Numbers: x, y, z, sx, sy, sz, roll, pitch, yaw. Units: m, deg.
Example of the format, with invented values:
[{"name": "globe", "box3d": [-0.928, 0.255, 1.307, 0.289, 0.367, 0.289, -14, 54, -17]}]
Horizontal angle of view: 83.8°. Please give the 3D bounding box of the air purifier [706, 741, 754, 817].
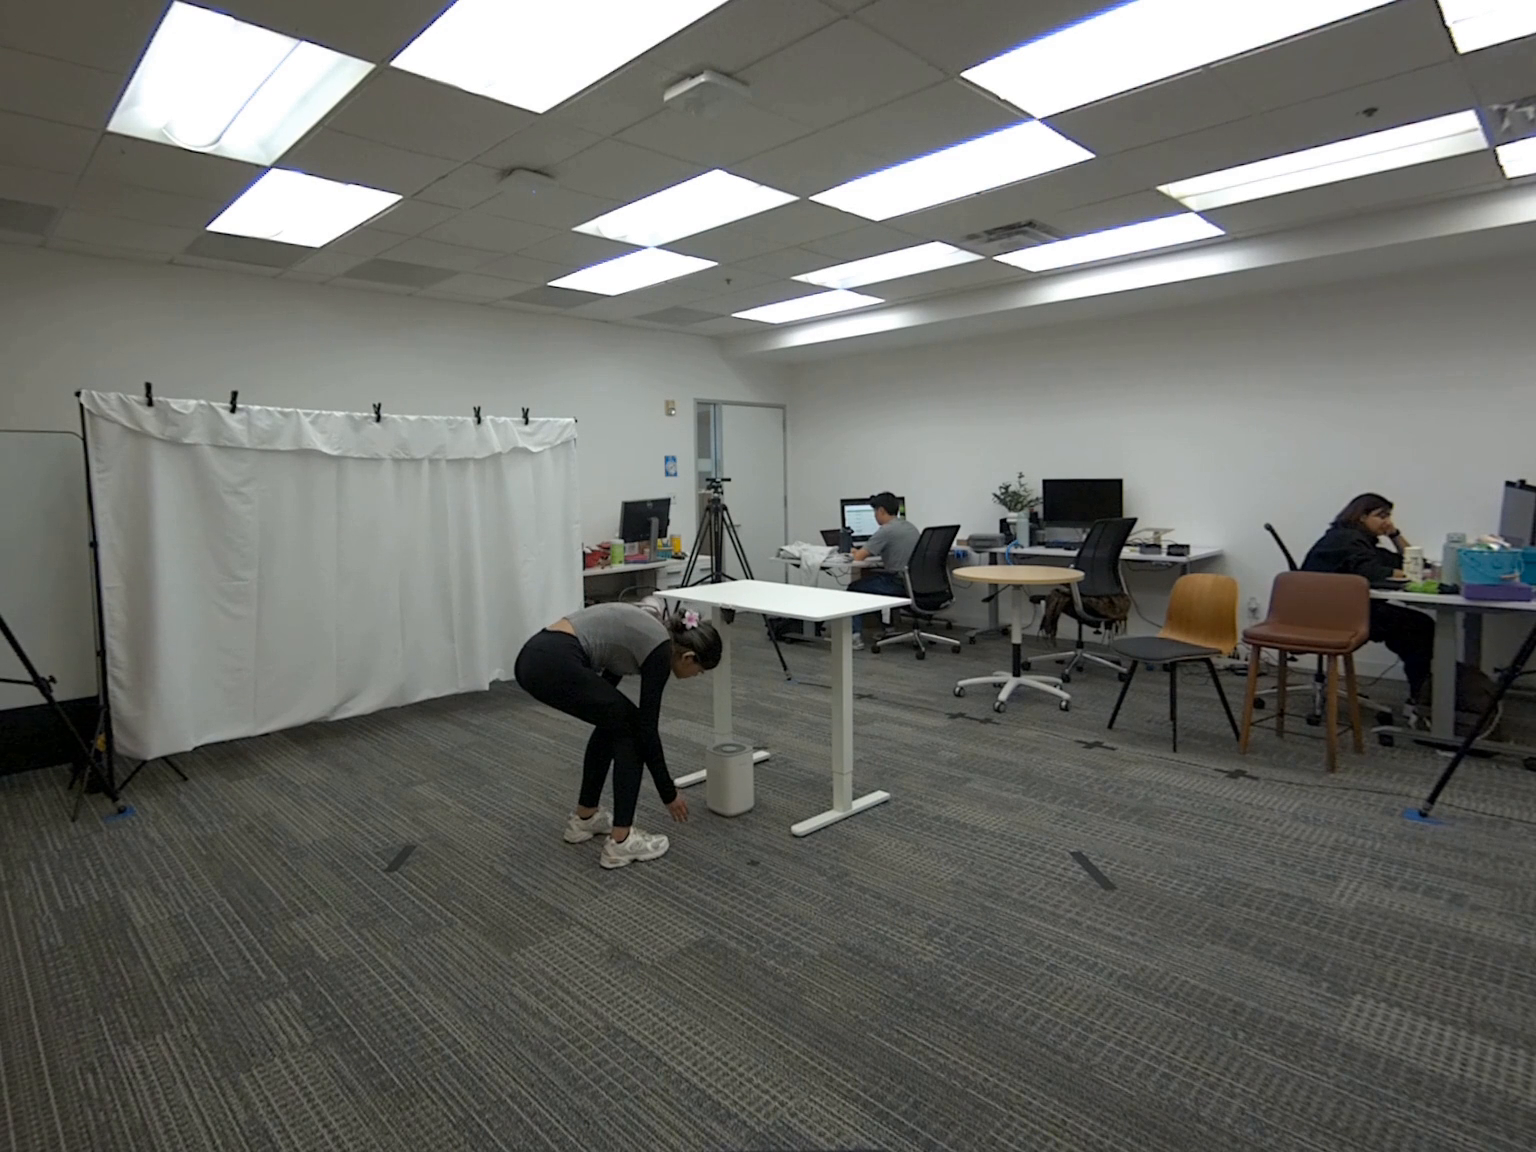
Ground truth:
[{"name": "air purifier", "box3d": [-0.166, 0.852, 3.600, 0.177, 0.264, 0.166, 3, 5, 44]}]
